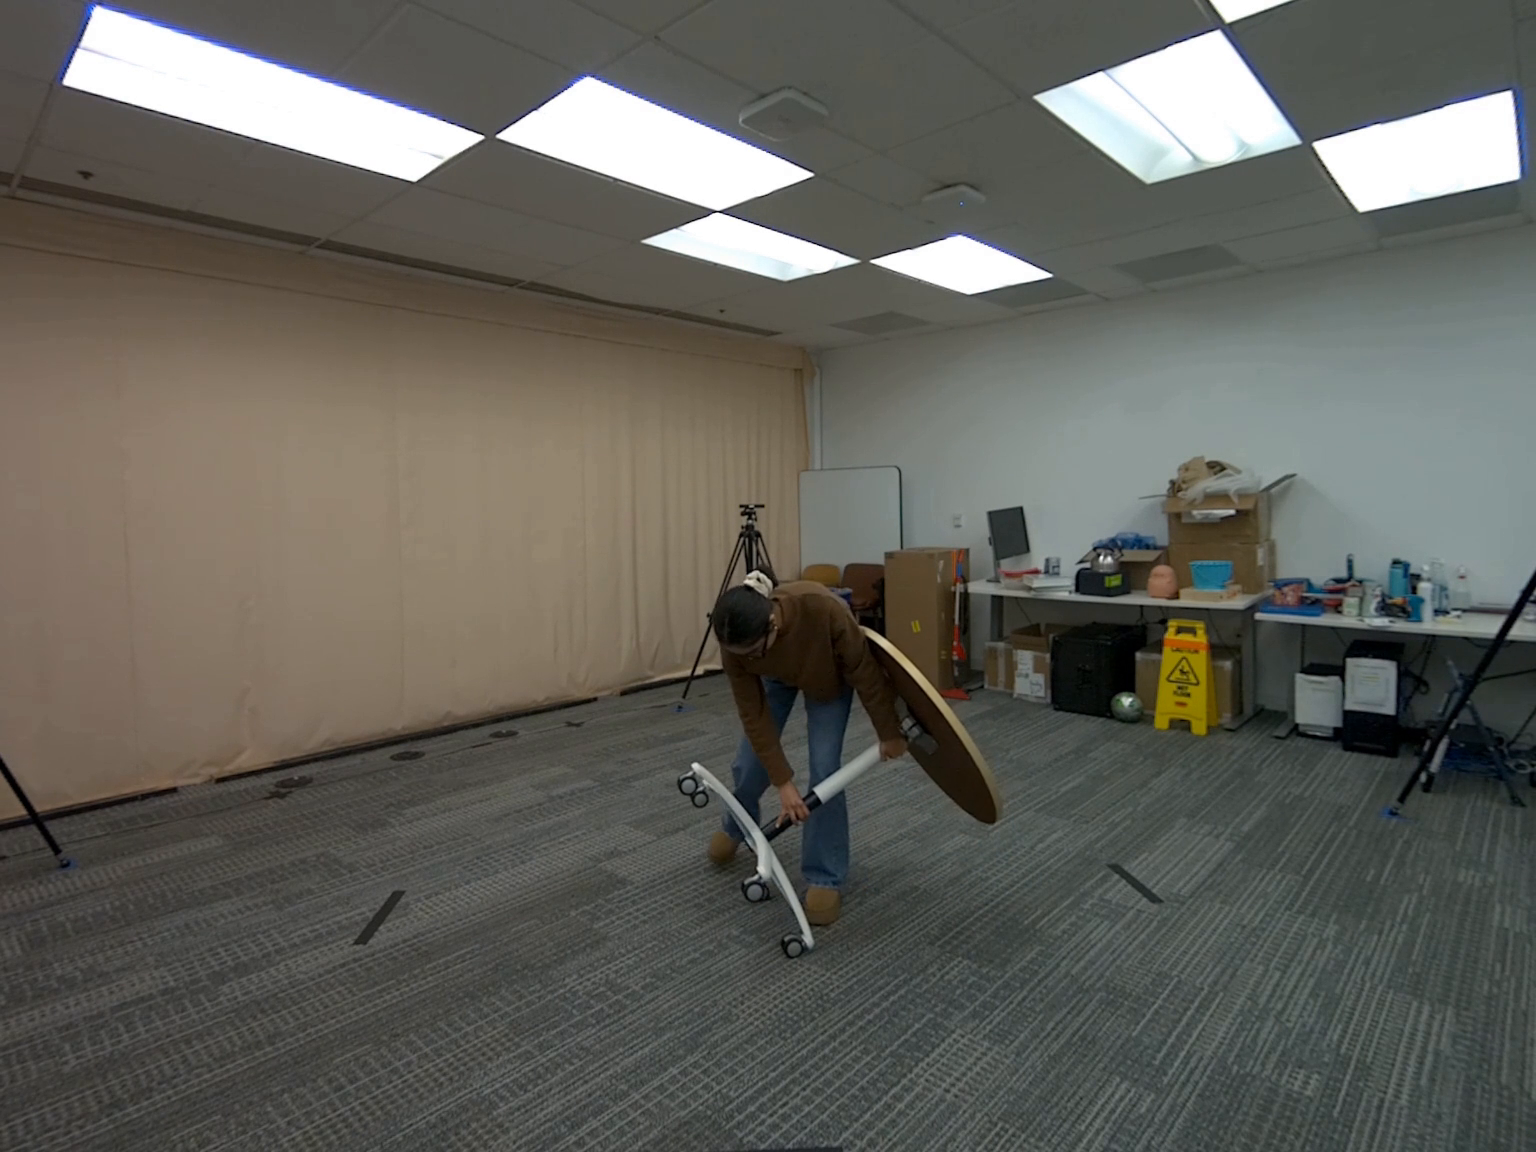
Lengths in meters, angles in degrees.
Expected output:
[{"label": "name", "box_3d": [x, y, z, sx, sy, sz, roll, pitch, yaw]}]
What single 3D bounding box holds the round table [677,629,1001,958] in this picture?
[{"label": "round table", "box_3d": [0.195, 0.703, 2.774, 0.790, 0.756, 0.776, -34, 11, -9]}]
